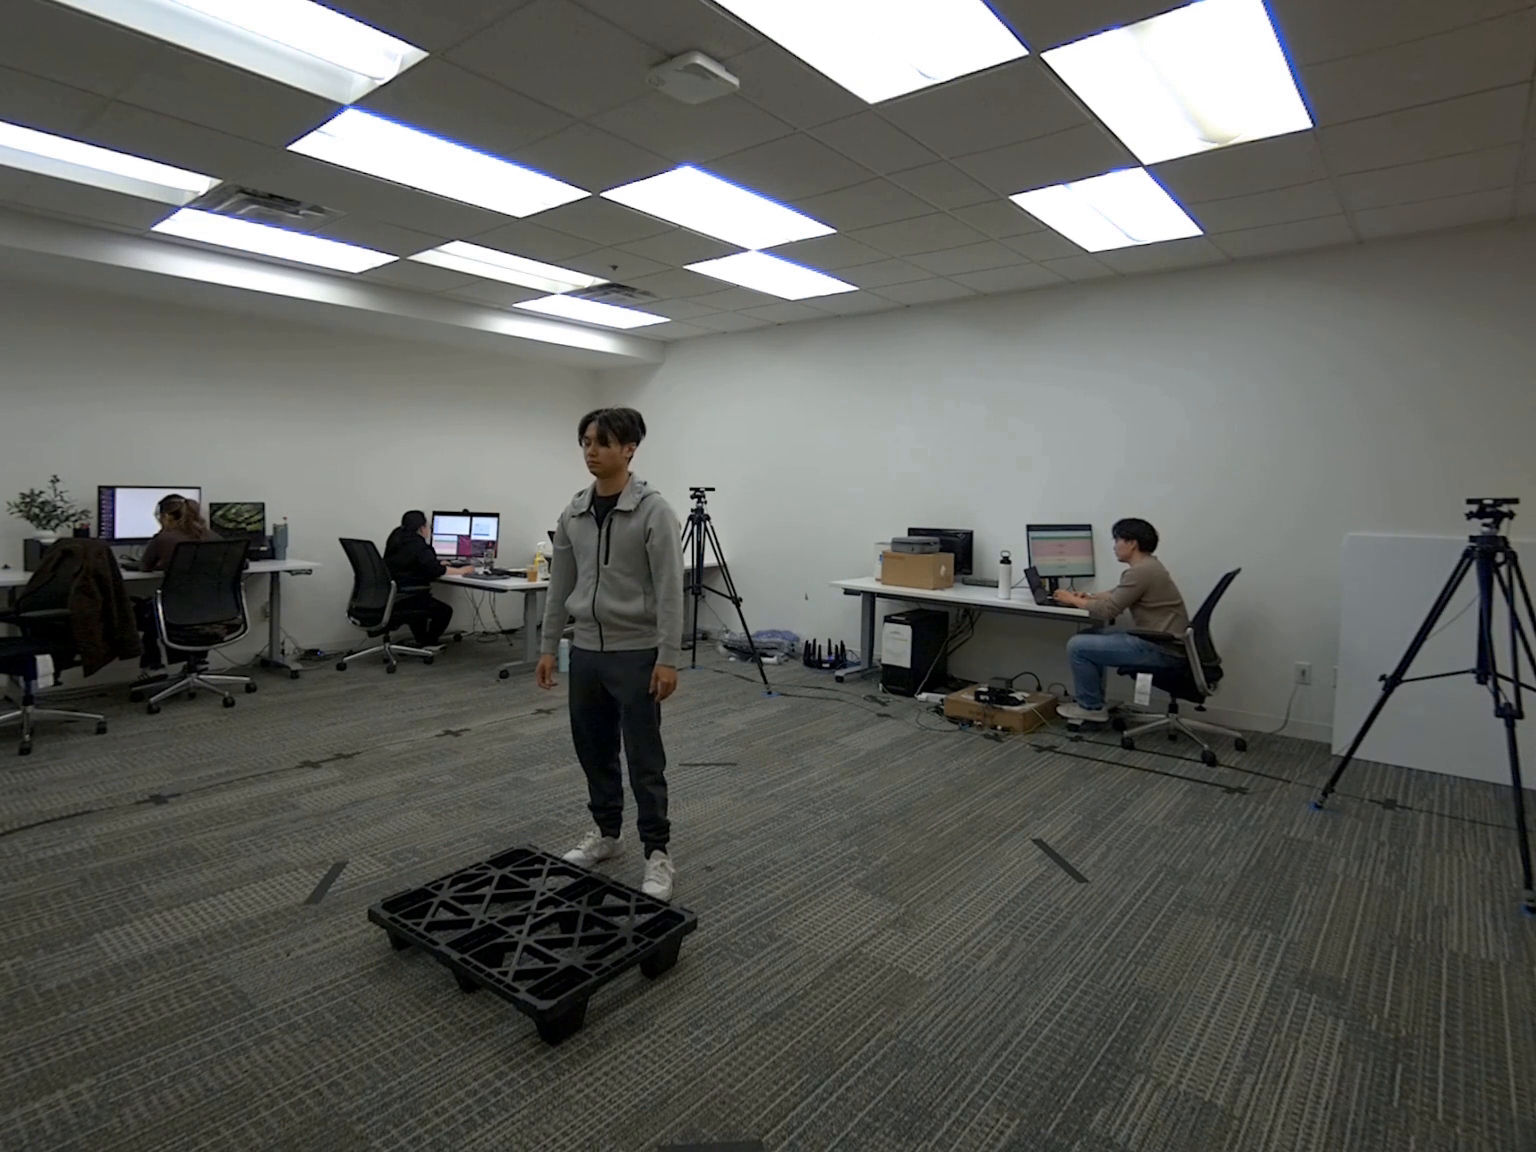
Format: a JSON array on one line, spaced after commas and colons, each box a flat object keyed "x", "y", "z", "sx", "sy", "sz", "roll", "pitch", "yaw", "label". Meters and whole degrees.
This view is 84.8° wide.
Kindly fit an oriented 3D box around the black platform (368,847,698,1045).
[{"x": -0.705, "y": 1.050, "z": 2.521, "sx": 0.832, "sy": 0.143, "sz": 0.588, "roll": 5, "pitch": 7, "yaw": 36, "label": "black platform"}]
